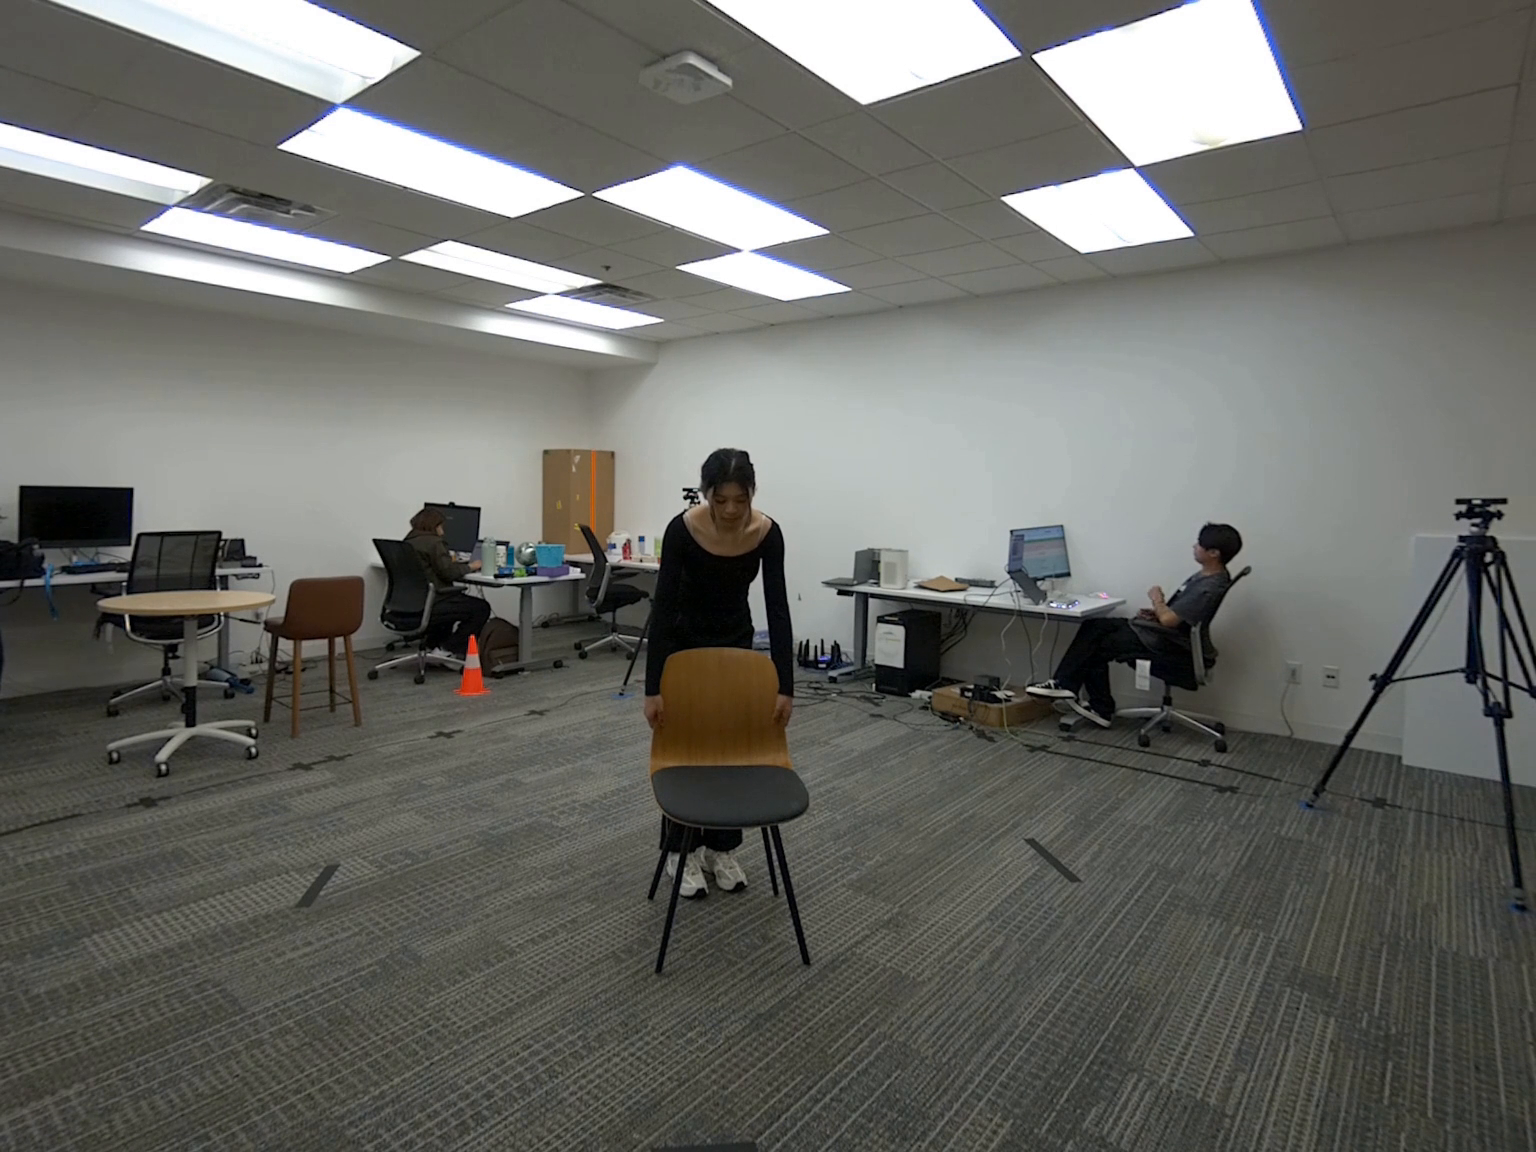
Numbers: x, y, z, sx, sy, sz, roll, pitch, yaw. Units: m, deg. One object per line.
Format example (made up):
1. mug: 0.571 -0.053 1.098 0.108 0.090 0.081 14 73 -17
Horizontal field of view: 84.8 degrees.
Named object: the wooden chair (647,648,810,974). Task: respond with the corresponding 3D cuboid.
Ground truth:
1. wooden chair: -0.133 0.687 2.645 0.473 0.878 0.528 1 -1 -10
